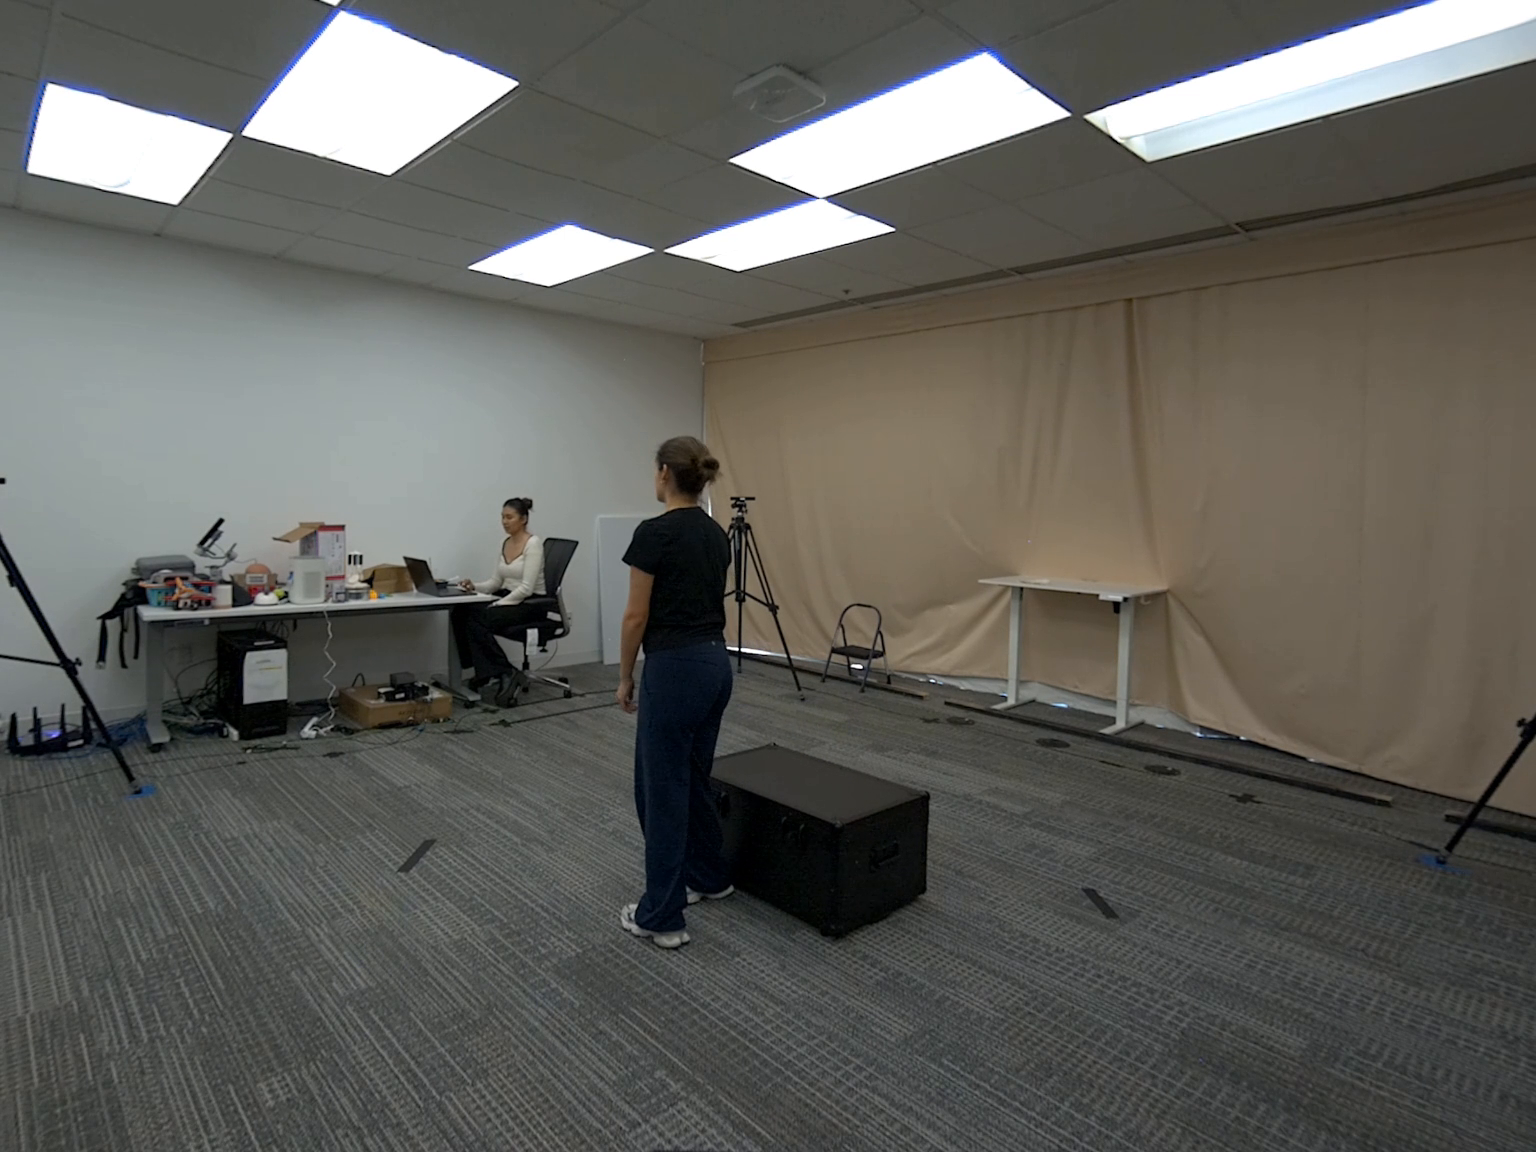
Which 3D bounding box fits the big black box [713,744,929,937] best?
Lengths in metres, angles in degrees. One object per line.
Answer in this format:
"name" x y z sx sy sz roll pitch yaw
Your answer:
"big black box" 0.095 0.923 3.089 0.509 0.395 0.884 -3 7 -44
